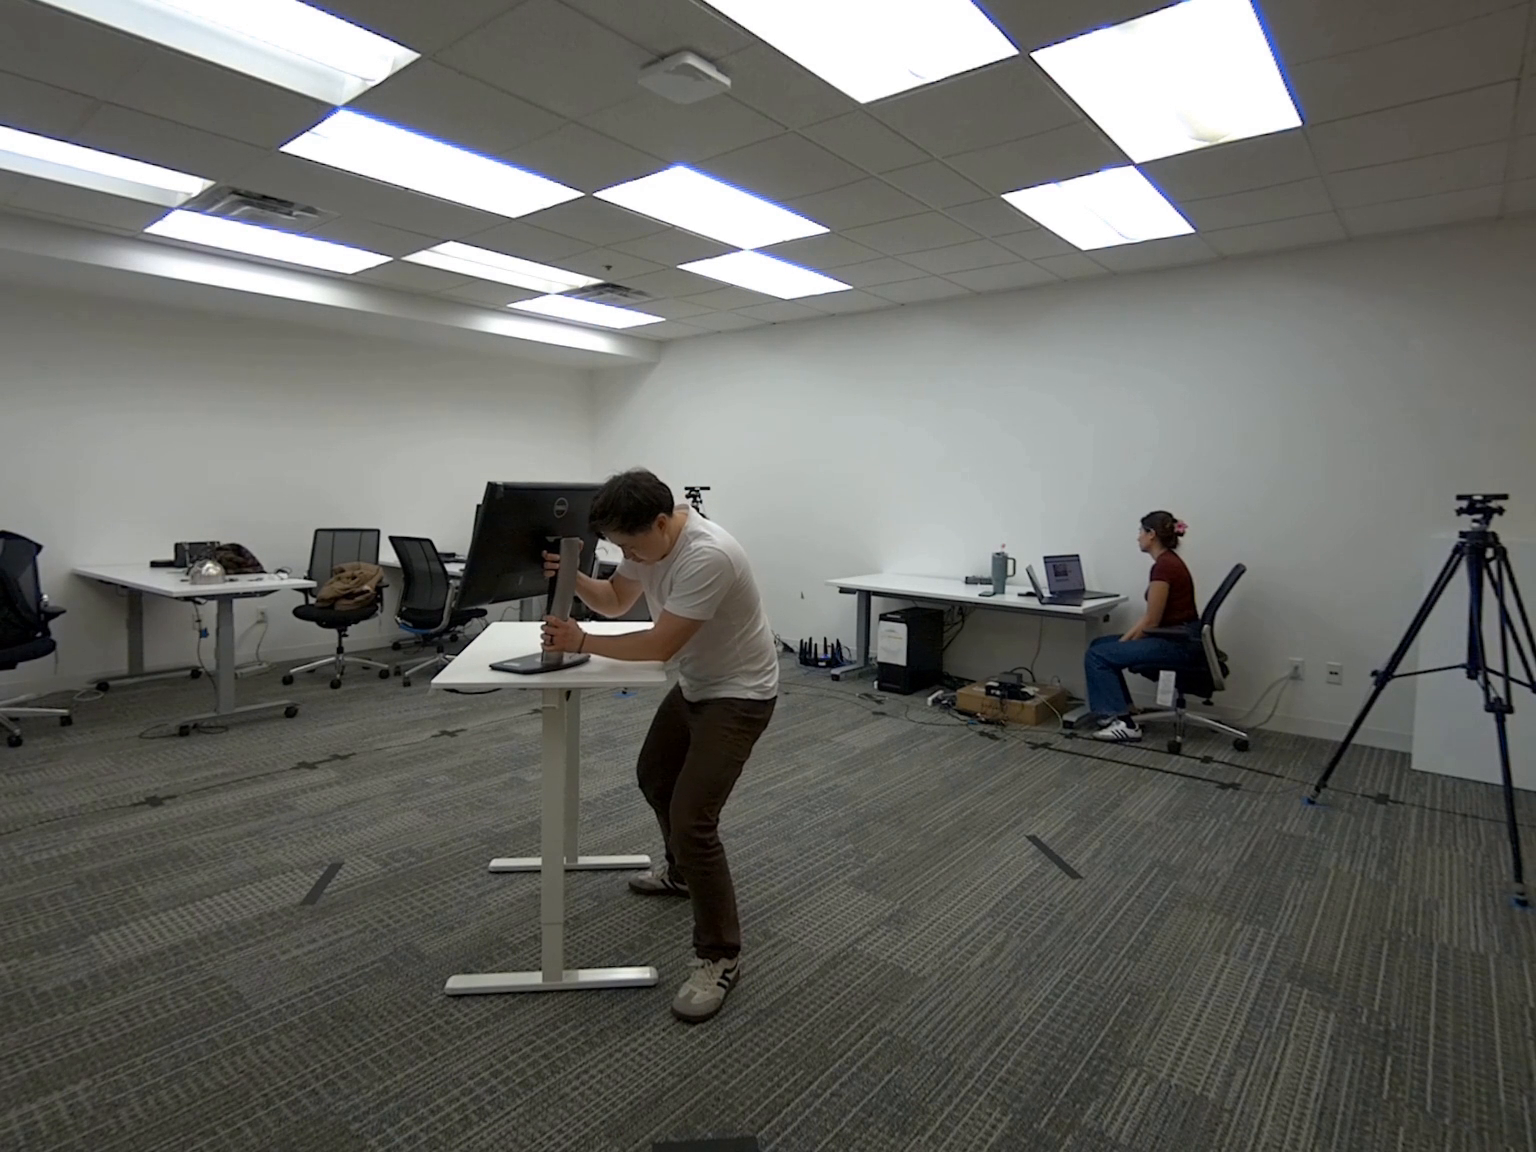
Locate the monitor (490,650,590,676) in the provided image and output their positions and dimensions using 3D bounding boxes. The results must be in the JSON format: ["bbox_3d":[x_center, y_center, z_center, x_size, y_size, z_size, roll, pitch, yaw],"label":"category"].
[{"bbox_3d":[-0.625,-0.001,2.380,0.192,0.520,0.528,7,7,22],"label":"monitor"}]
